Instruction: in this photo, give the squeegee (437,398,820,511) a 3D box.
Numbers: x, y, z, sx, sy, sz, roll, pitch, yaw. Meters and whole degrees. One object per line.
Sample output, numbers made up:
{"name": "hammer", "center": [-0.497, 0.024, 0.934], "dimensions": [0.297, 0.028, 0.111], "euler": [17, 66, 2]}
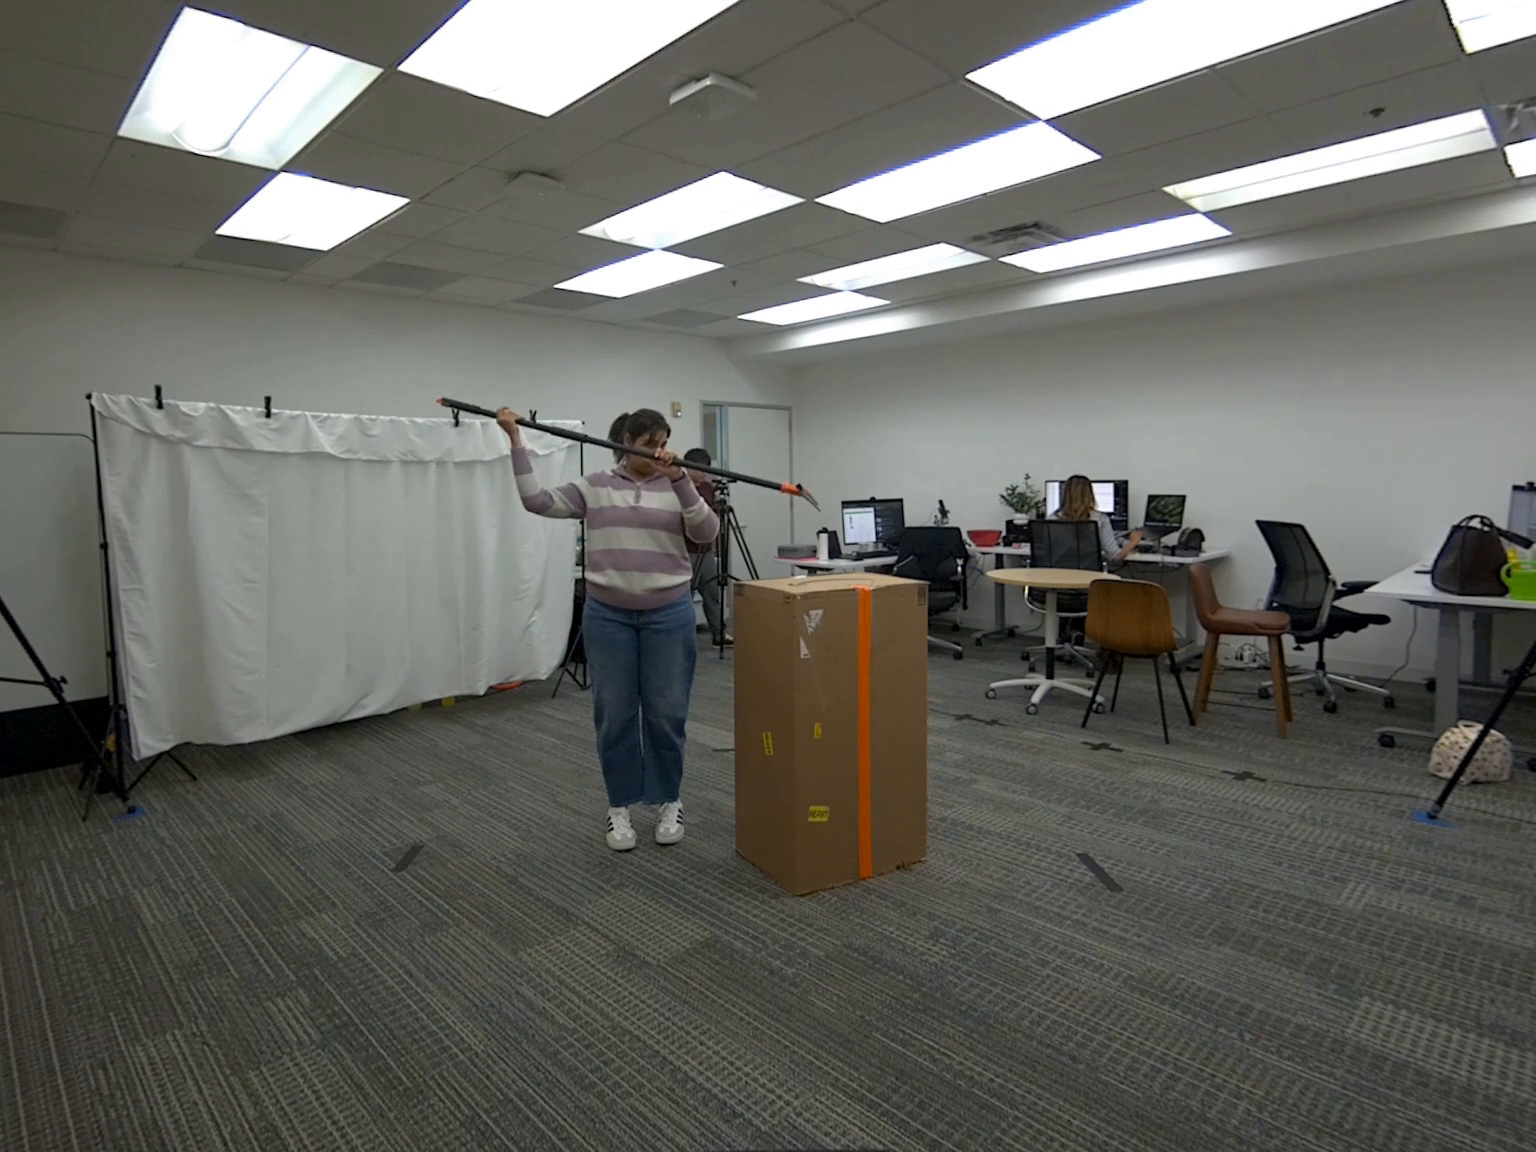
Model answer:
{"name": "squeegee", "center": [-0.555, -0.476, 3.143], "dimensions": [1.563, 0.053, 0.430], "euler": [17, 2, 14]}
